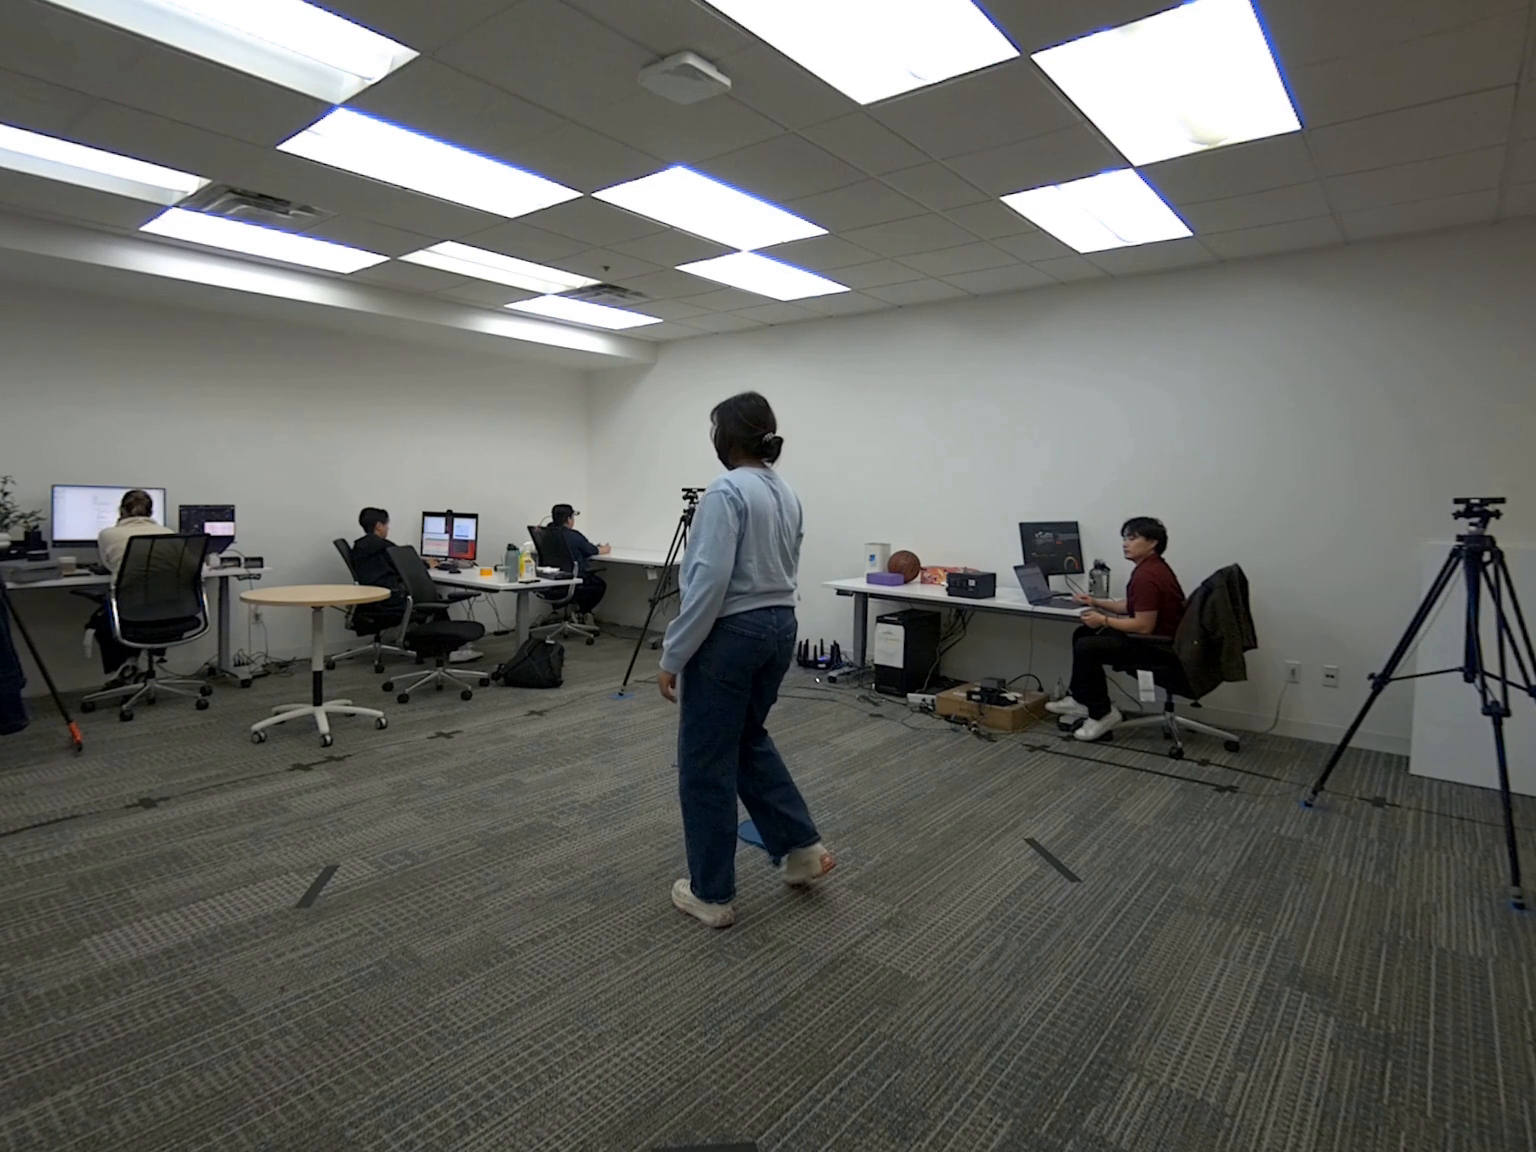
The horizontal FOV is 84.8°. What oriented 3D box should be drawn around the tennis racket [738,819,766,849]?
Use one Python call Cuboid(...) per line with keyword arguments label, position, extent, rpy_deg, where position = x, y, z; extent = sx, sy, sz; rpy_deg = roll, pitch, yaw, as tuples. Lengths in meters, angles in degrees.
Cuboid(label="tennis racket", position=(-0.017, 1.032, 3.360), extent=(0.212, 0.031, 0.437), rpy_deg=(-1, 5, -8))
